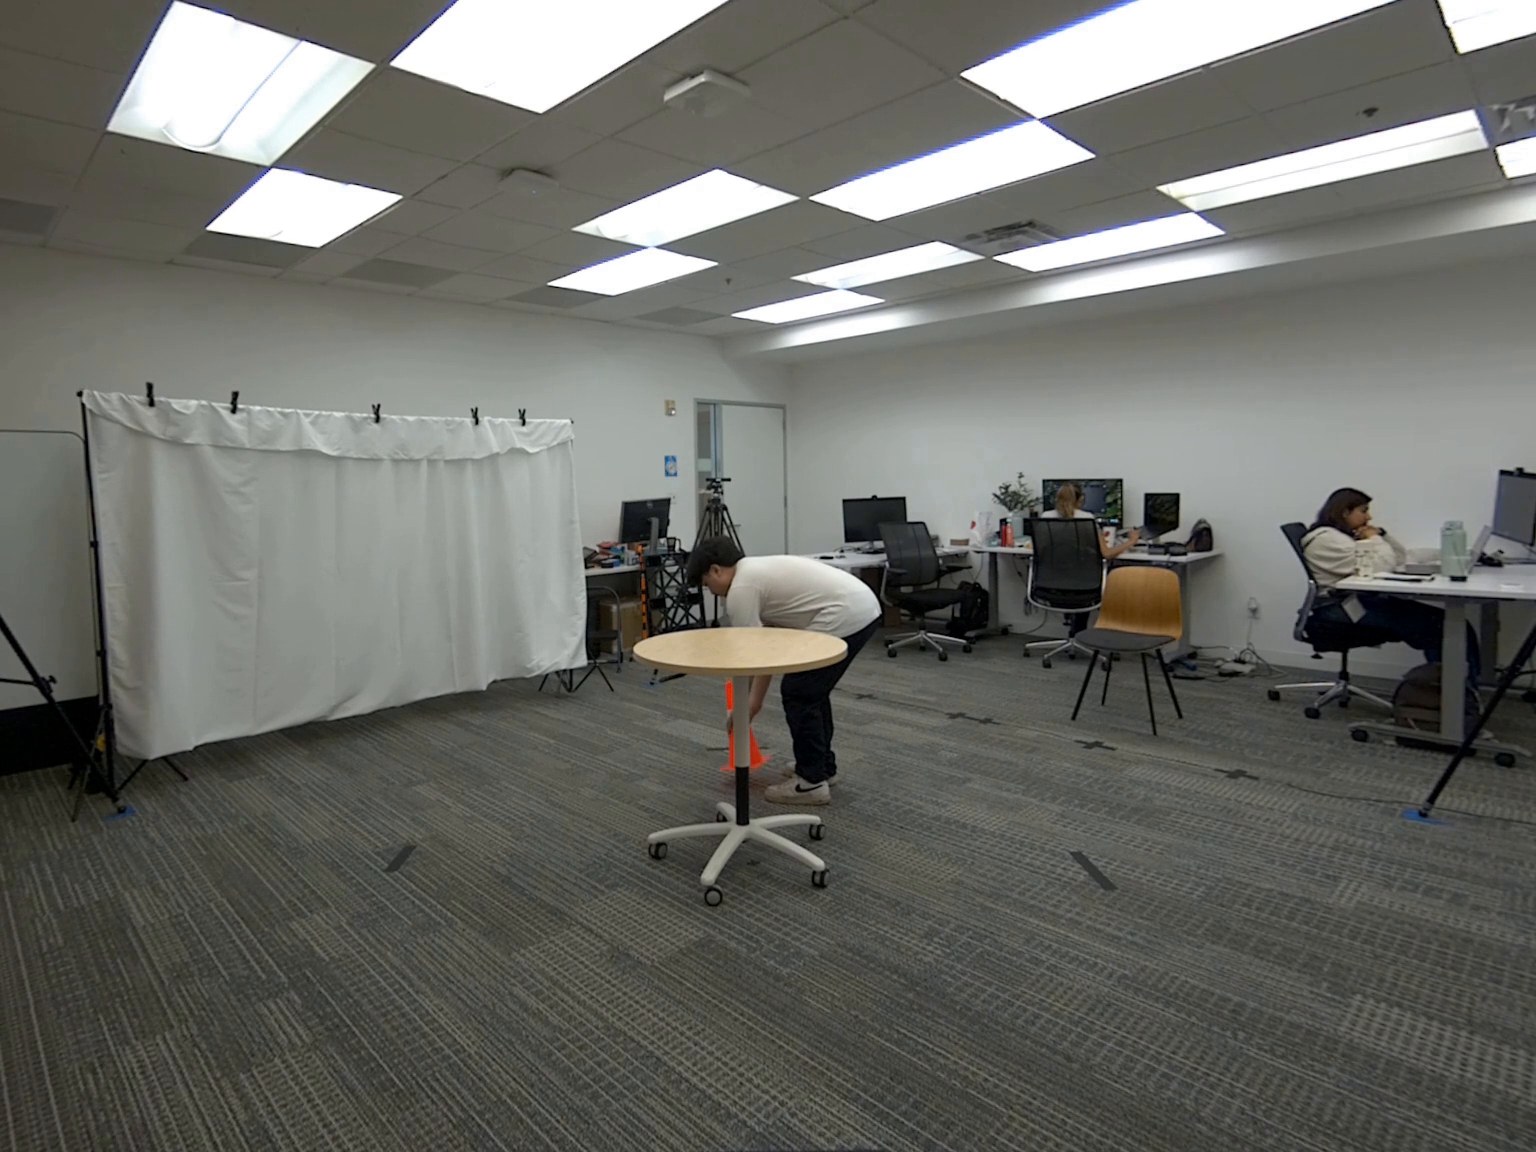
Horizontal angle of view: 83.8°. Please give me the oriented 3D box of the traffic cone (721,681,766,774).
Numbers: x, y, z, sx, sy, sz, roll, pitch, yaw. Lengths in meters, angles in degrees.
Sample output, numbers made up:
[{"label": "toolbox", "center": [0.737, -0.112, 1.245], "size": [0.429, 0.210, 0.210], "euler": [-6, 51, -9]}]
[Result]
[{"label": "traffic cone", "center": [-0.131, 0.683, 3.950], "size": [0.209, 0.385, 0.199], "euler": [-13, -3, 27]}]
